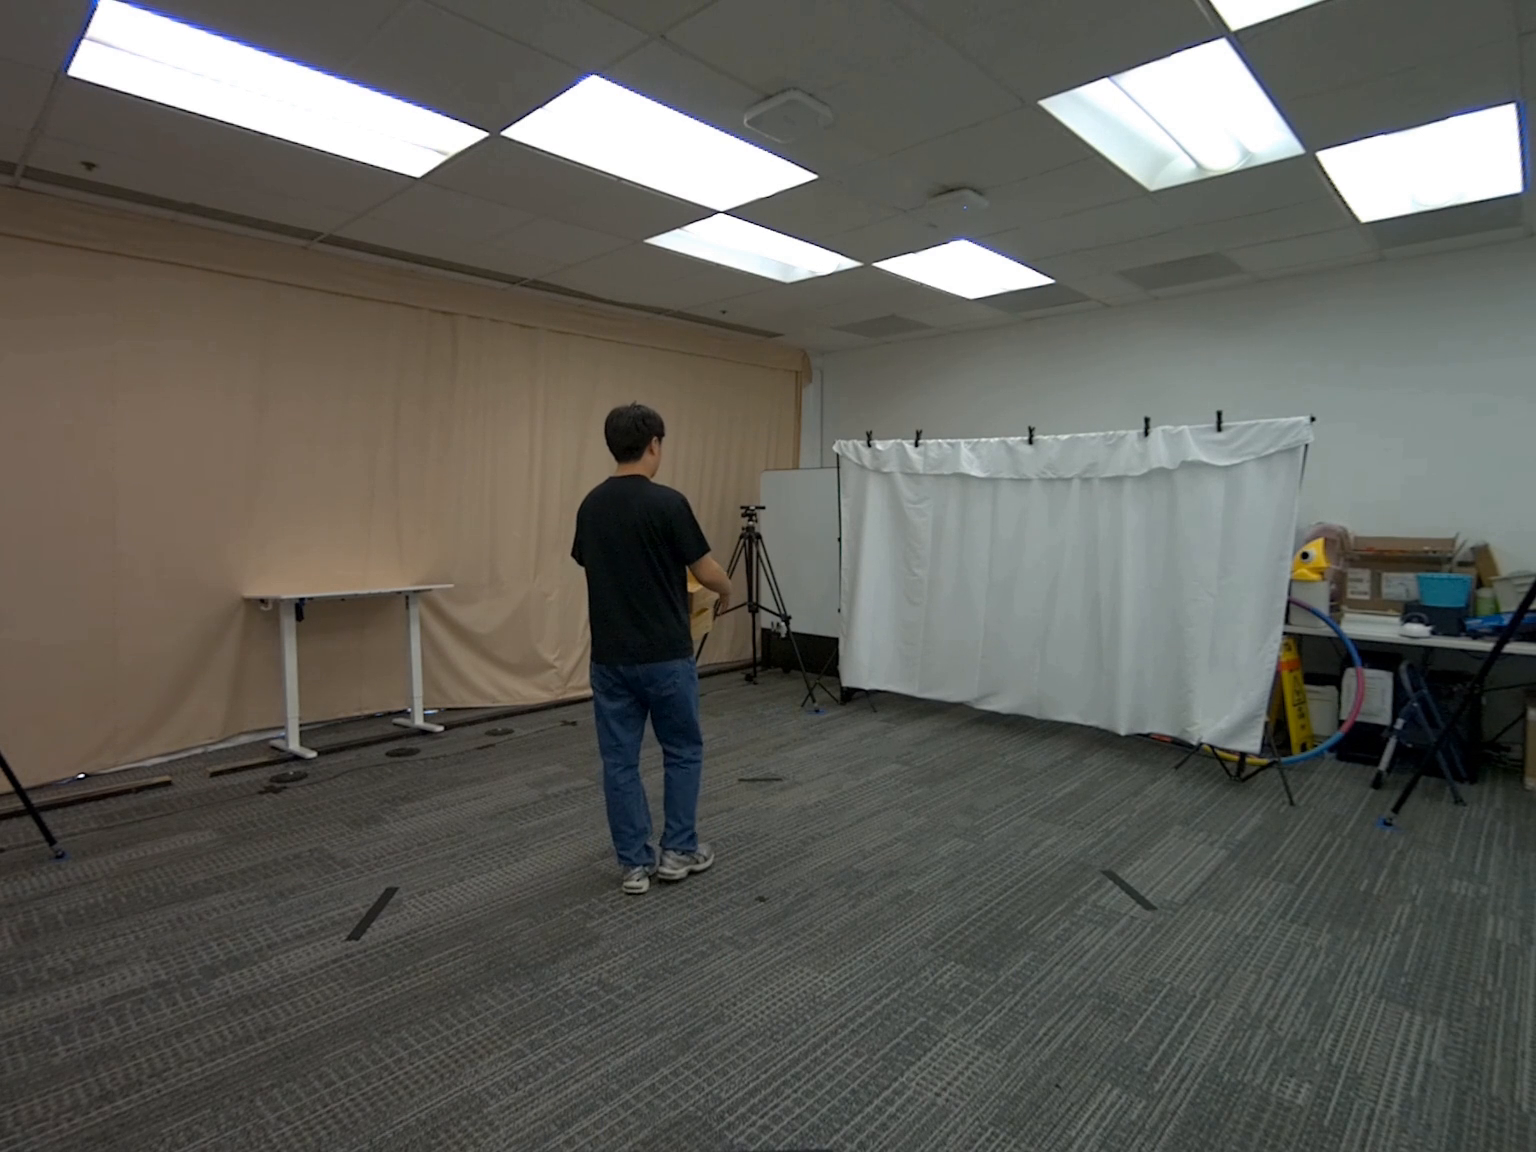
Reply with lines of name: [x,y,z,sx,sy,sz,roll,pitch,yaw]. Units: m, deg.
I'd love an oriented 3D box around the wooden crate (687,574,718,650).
wooden crate: [-0.377,0.122,3.480,0.310,0.271,0.319,11,18,23]
